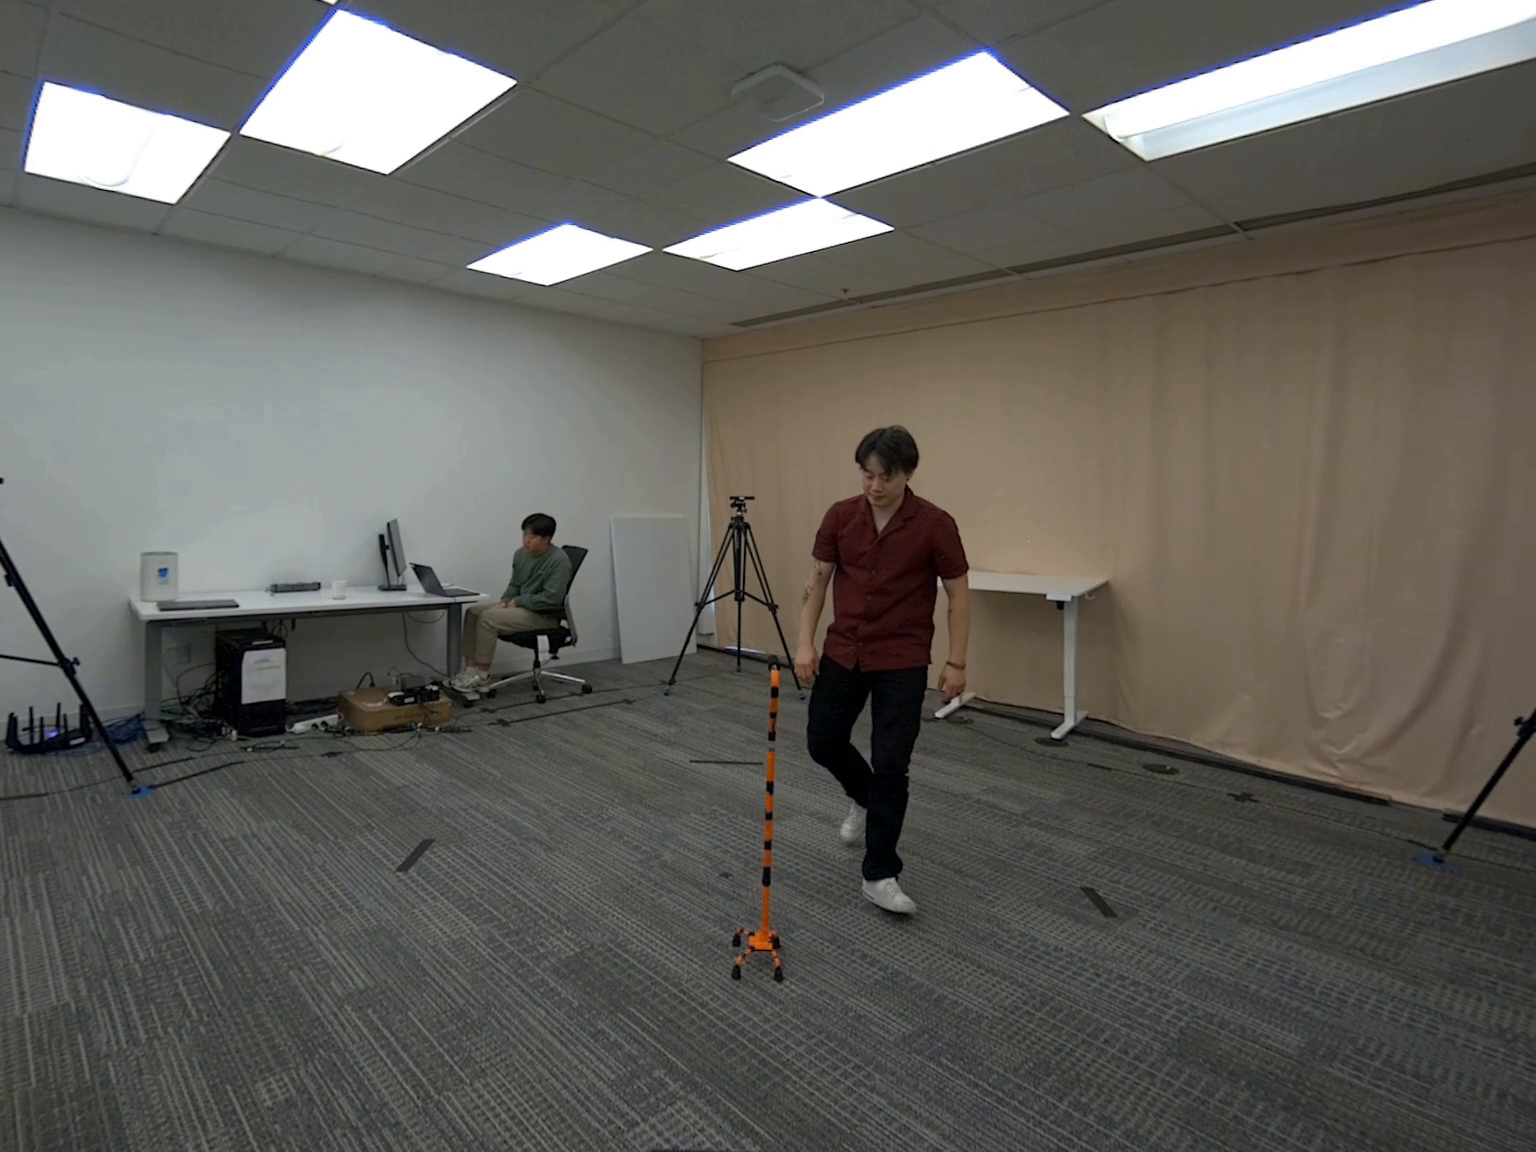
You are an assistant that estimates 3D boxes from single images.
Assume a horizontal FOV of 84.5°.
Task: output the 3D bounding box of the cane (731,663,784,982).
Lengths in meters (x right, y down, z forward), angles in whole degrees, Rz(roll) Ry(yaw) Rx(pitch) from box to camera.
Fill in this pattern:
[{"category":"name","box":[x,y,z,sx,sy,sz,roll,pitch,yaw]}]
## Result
[{"category":"cane","box":[-0.017,0.712,2.498,0.151,0.905,0.207,2,3,-2]}]
